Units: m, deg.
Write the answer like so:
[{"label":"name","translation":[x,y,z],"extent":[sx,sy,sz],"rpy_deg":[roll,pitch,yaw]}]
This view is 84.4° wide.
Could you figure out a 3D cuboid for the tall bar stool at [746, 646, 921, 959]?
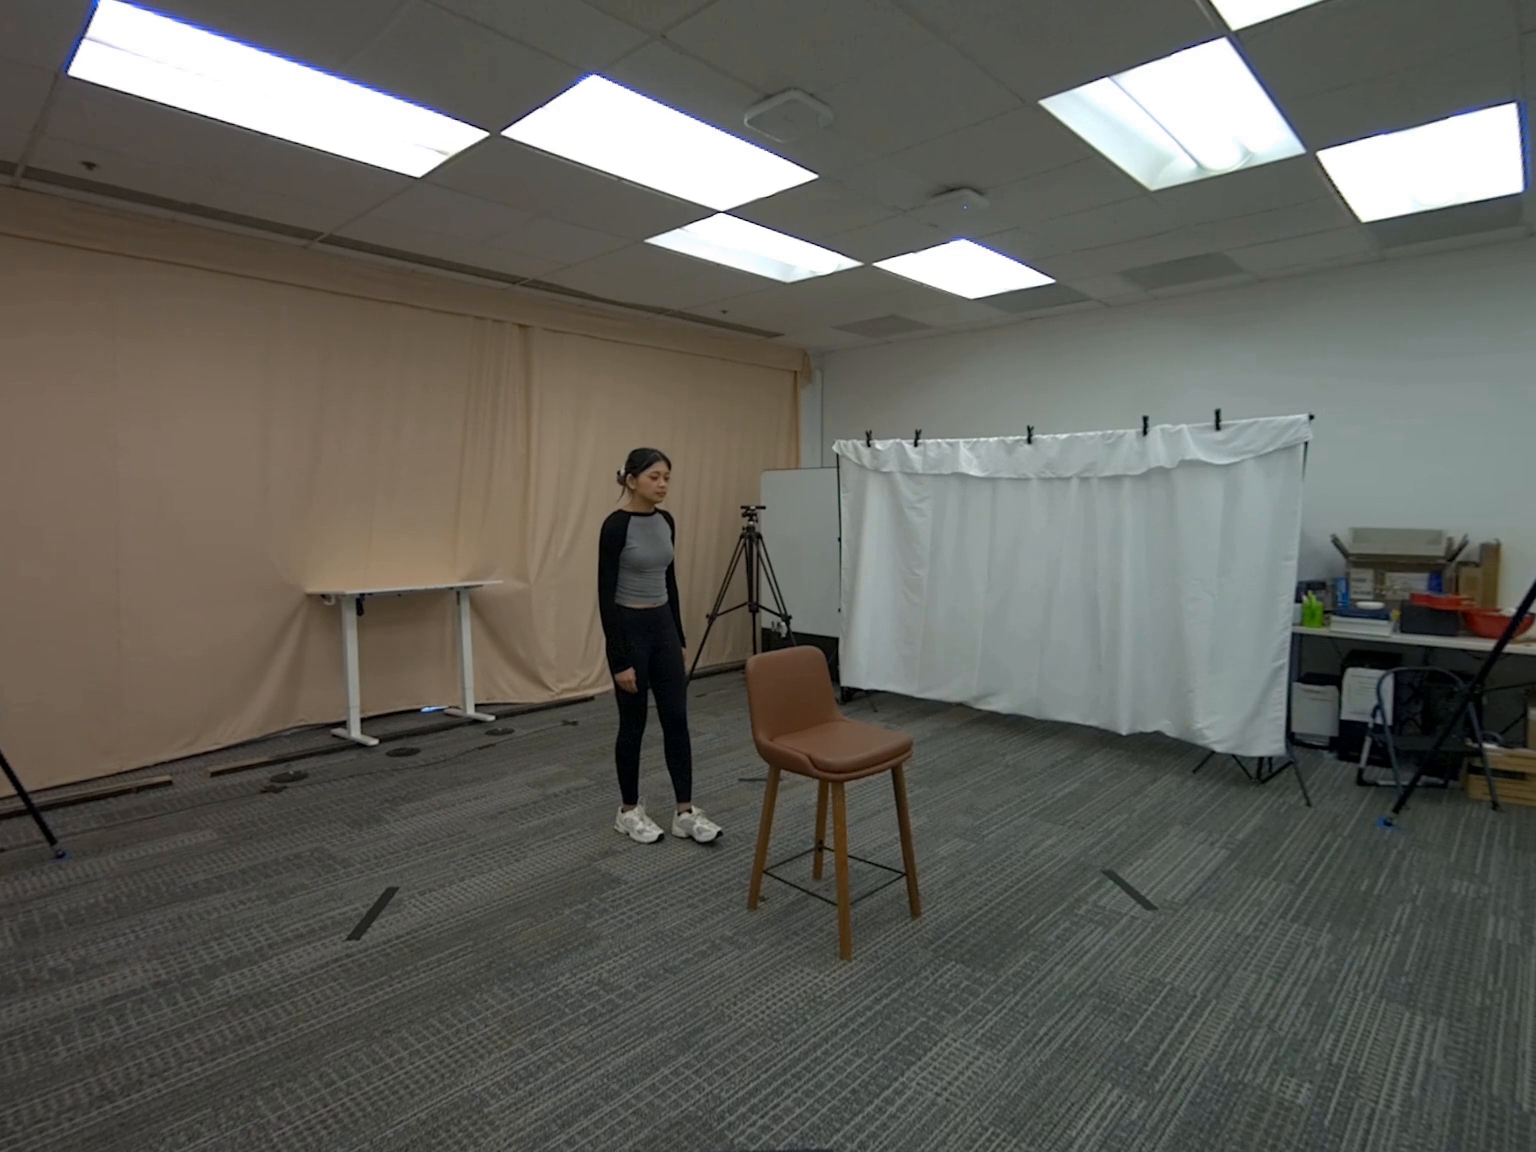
[{"label":"tall bar stool","translation":[0.217,0.720,2.856],"extent":[0.442,0.888,0.483],"rpy_deg":[-4,3,-45]}]
